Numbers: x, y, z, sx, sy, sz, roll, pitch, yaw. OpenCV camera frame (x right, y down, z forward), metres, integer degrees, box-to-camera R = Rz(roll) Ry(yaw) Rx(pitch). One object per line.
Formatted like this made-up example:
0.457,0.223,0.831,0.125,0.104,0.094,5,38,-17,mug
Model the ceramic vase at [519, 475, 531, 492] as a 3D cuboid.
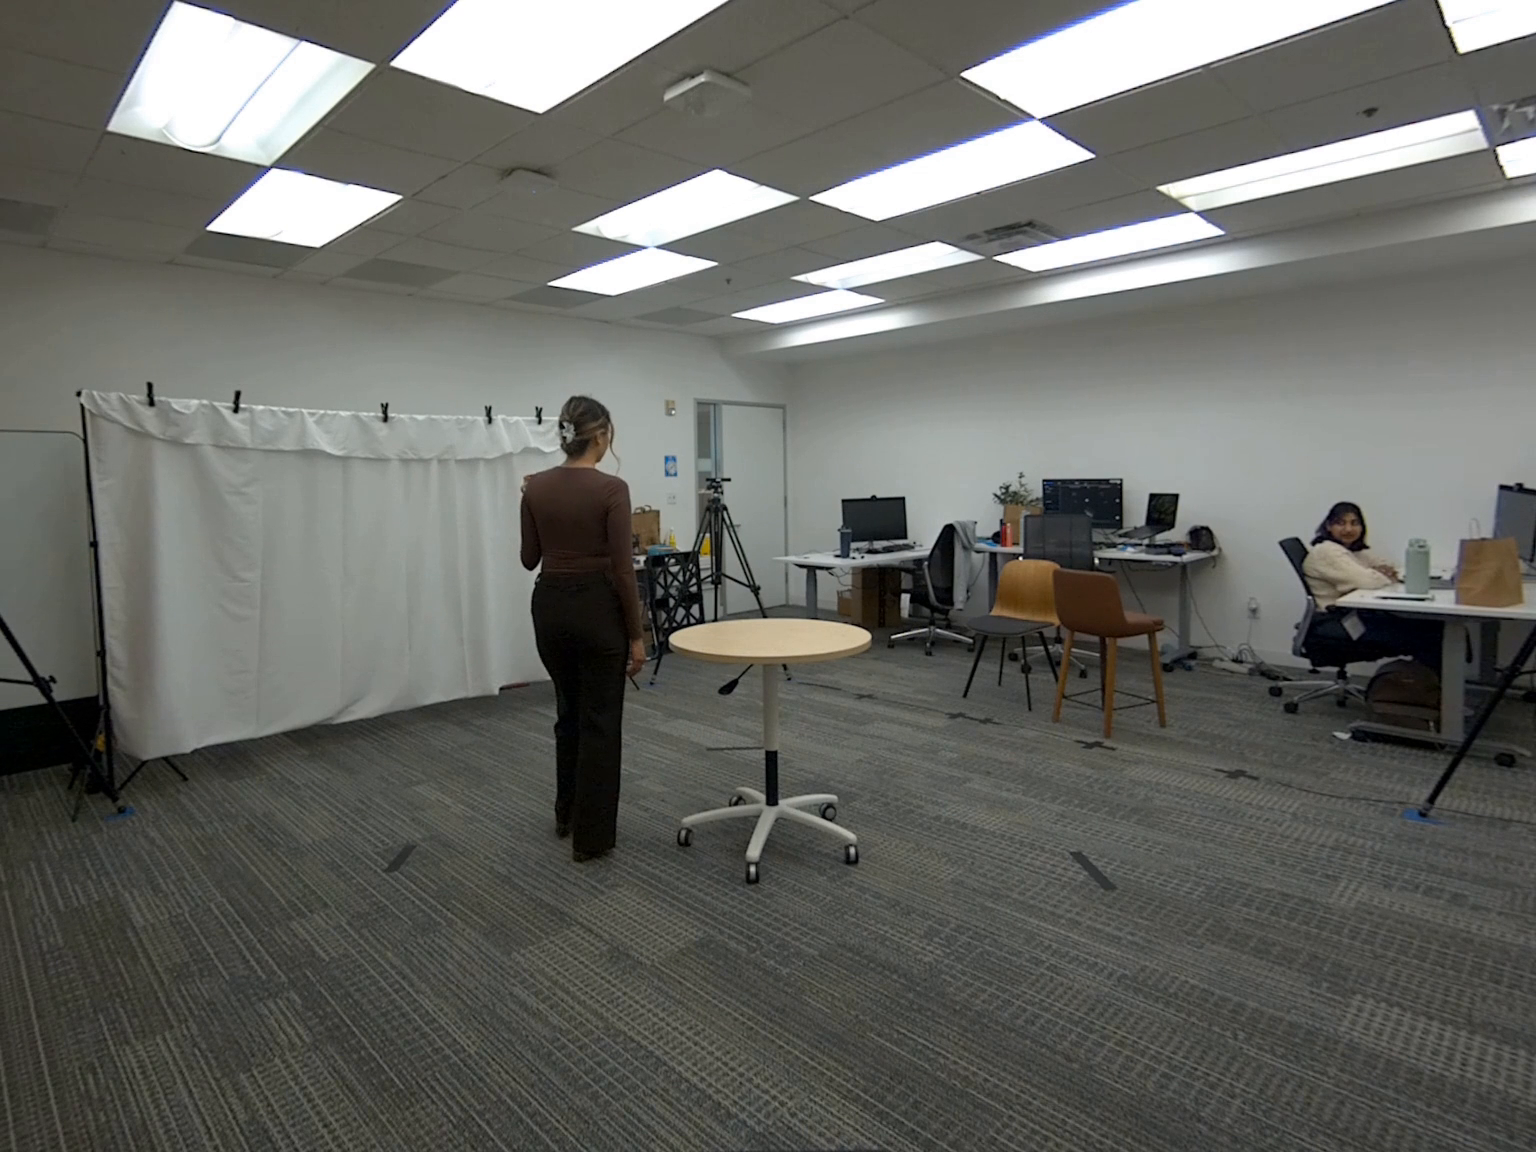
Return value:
-0.920,-0.317,3.536,0.157,0.218,0.137,-5,10,-10,ceramic vase
